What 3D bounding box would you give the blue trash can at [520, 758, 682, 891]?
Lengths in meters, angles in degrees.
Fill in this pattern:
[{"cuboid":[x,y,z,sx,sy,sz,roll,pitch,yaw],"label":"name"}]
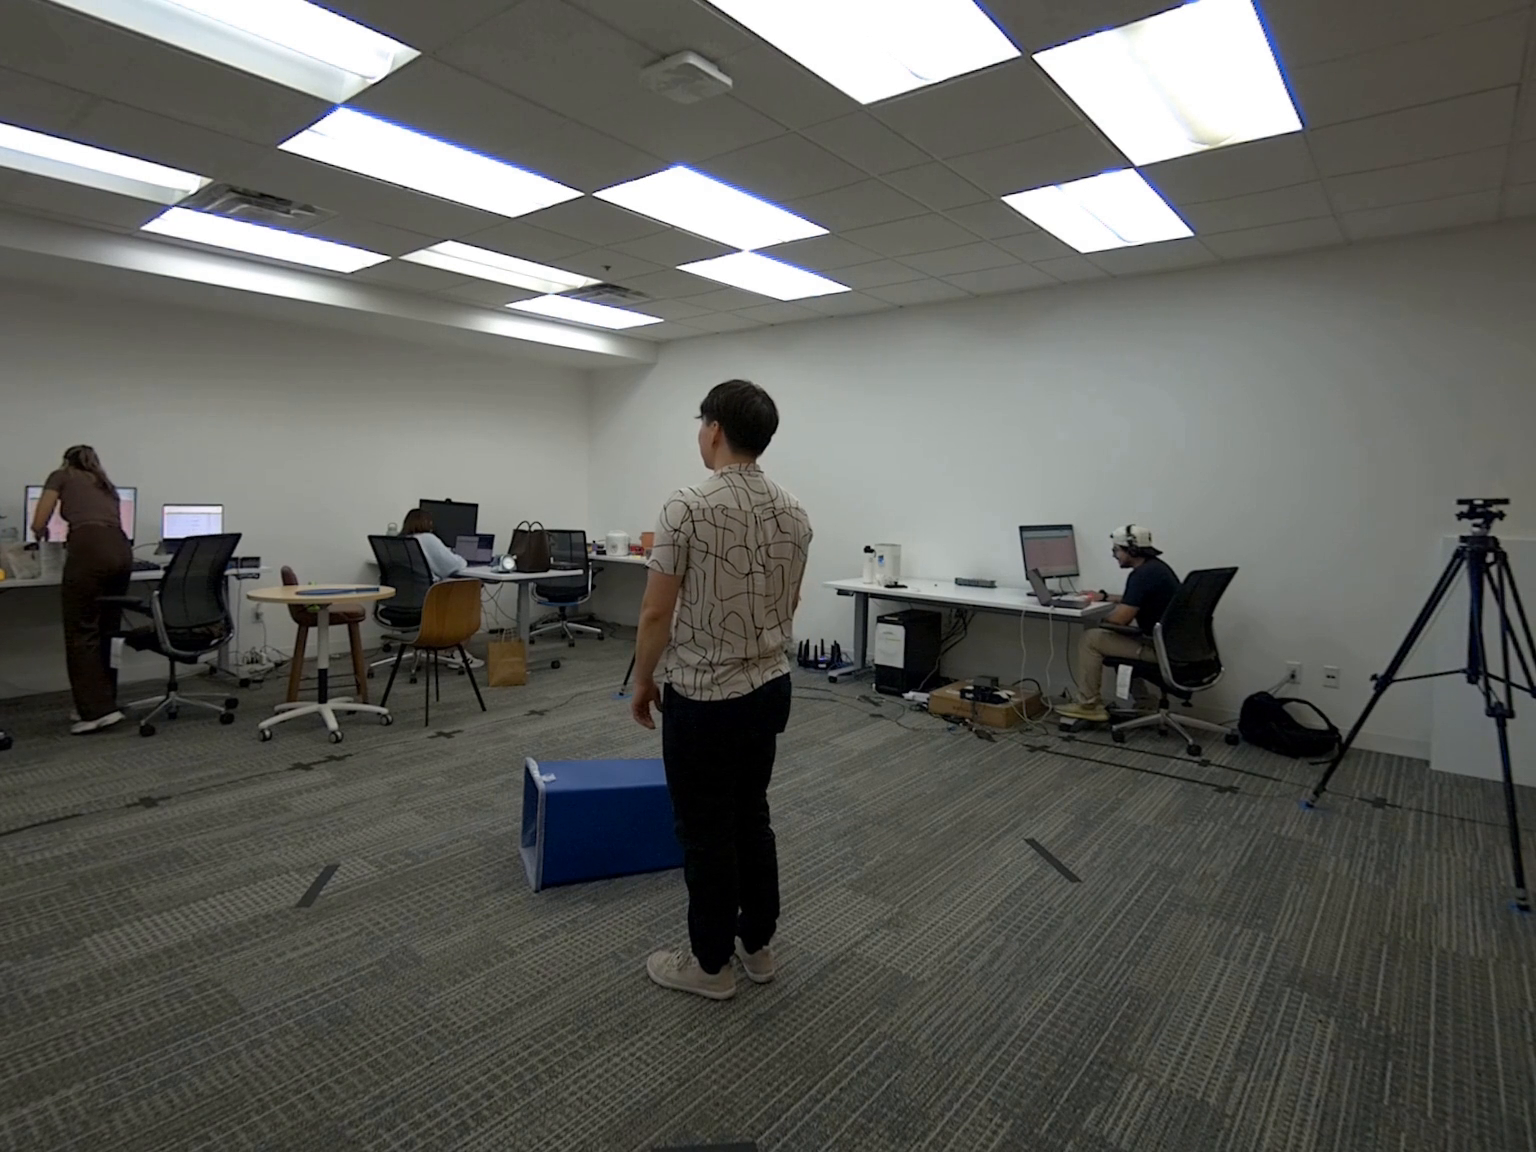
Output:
[{"cuboid":[-0.545,0.888,3.174,0.698,0.373,0.388,3,4,-22],"label":"blue trash can"}]
